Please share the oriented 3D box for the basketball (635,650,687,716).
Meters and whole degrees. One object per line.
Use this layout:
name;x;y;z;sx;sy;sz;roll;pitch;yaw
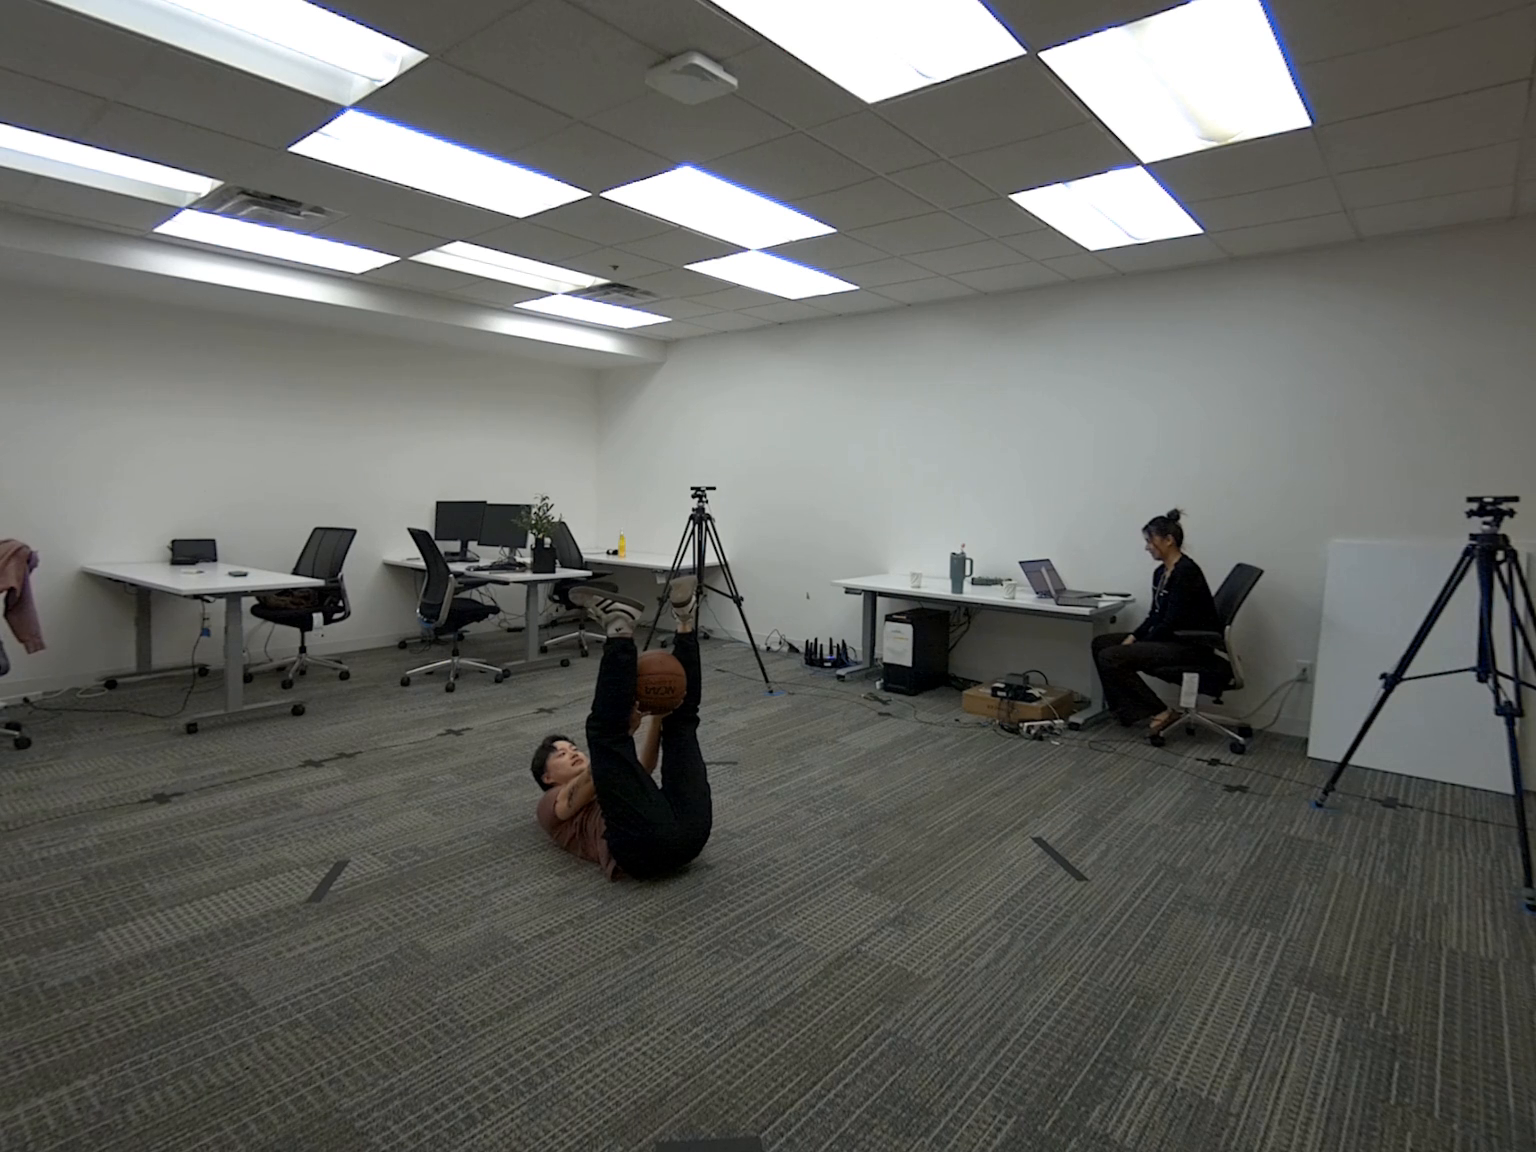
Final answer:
basketball;-0.425;0.388;3.114;0.235;0.235;0.237;1;5;-2
